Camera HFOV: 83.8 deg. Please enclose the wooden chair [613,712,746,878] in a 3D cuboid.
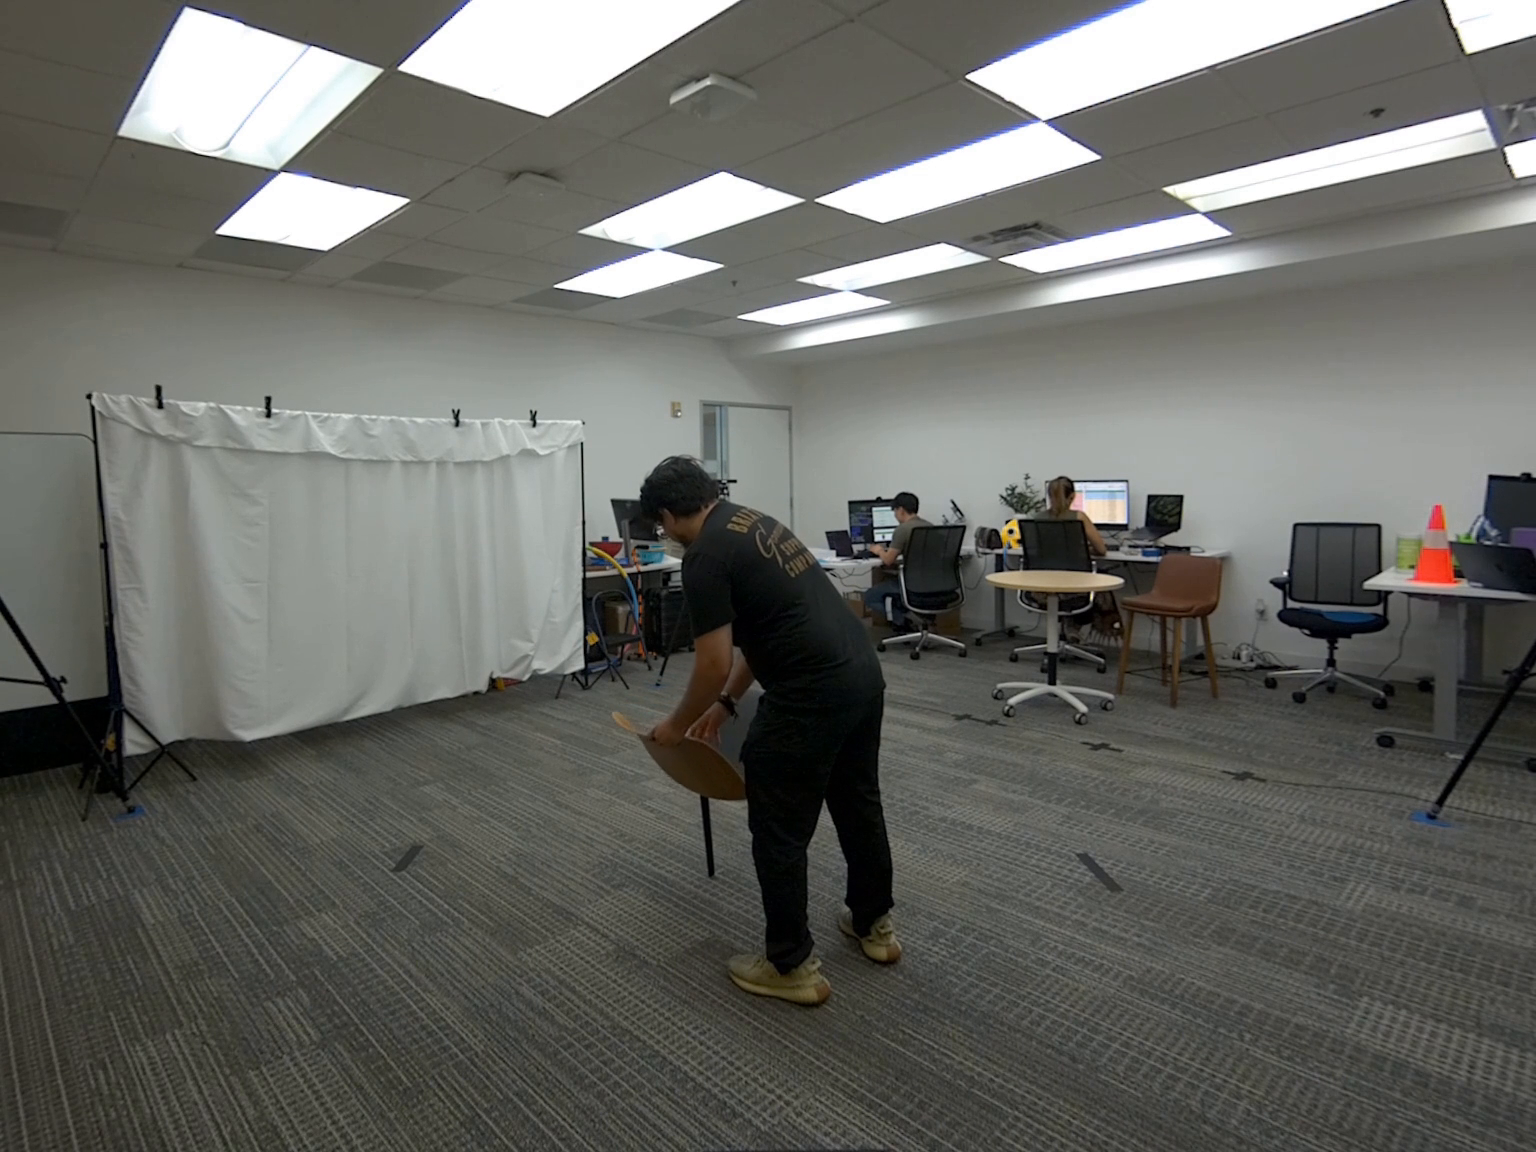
[{"bbox_3d":[-0.076,0.603,2.812,0.493,0.849,0.524,4,44,45],"label":"wooden chair"}]
